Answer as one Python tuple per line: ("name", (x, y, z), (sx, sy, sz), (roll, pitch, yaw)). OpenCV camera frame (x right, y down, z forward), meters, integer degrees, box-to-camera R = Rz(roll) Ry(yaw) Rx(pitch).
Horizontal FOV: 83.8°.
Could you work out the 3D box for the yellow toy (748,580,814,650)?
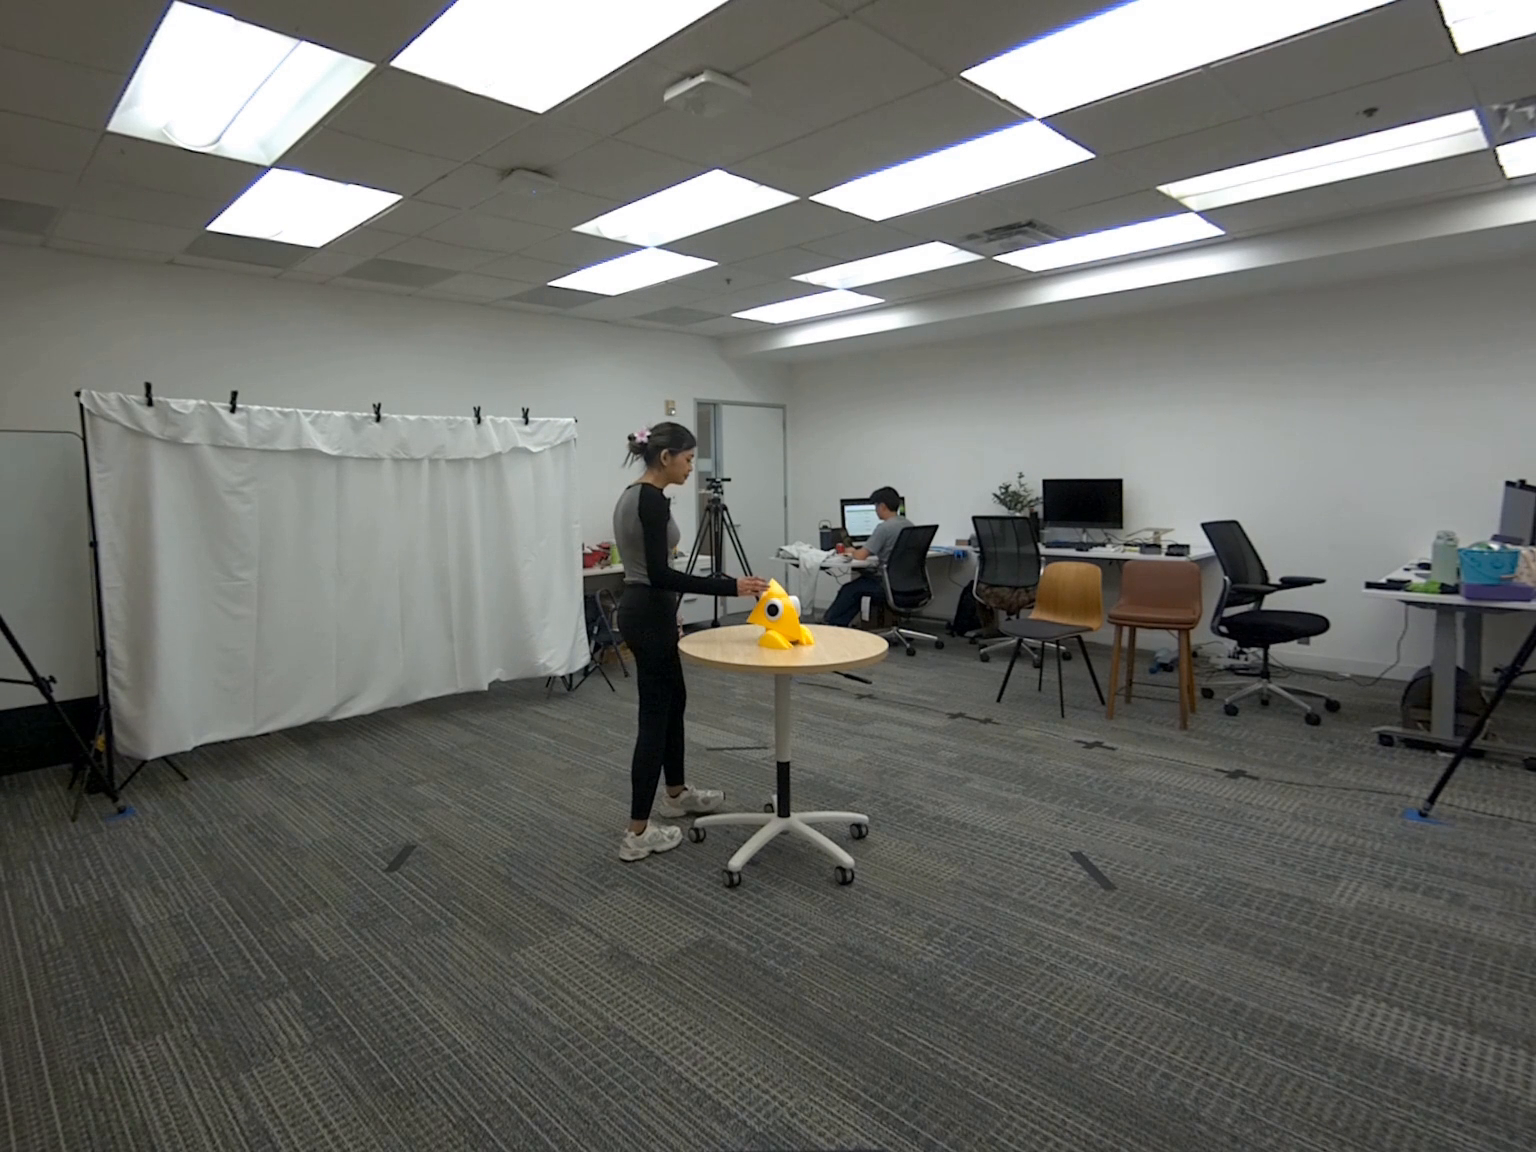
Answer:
("yellow toy", (0.064, 0.132, 3.115), (0.199, 0.230, 0.199), (-4, 6, -41))
